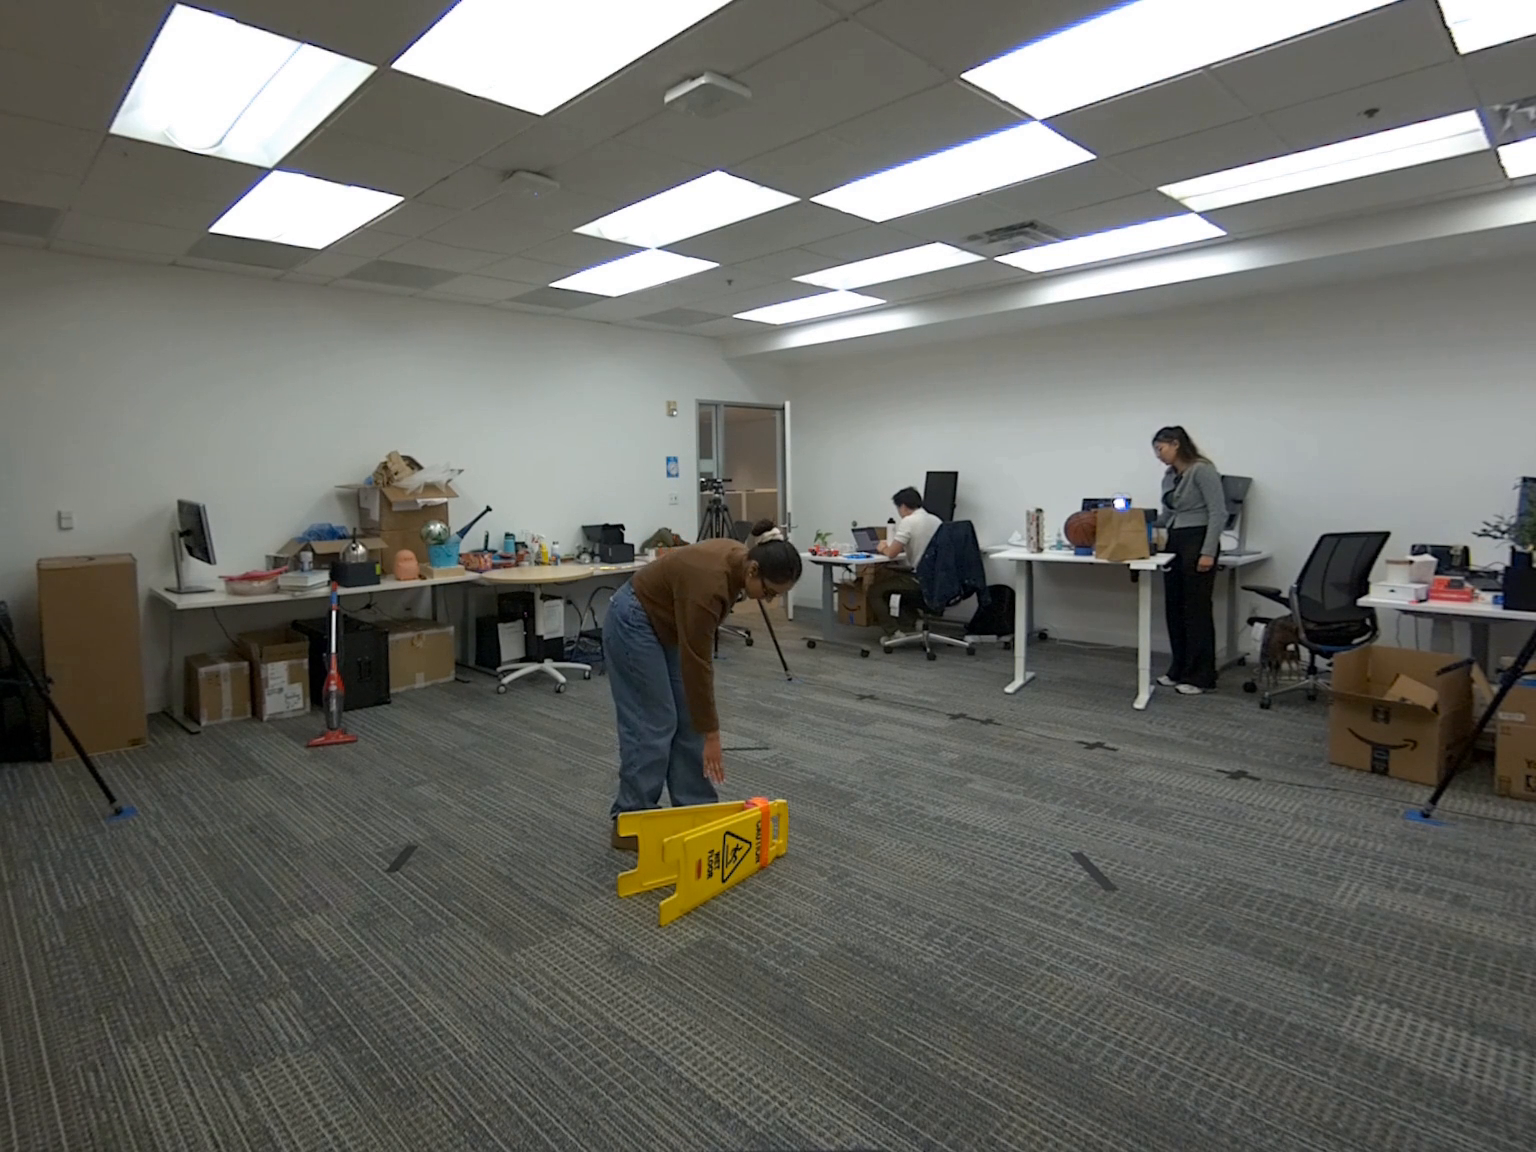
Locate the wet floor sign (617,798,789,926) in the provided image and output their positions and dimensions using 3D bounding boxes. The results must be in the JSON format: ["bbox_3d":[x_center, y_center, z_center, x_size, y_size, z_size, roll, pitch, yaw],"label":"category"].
[{"bbox_3d":[-0.180,0.935,2.973,0.628,0.281,0.299,-2,5,-39],"label":"wet floor sign"}]
